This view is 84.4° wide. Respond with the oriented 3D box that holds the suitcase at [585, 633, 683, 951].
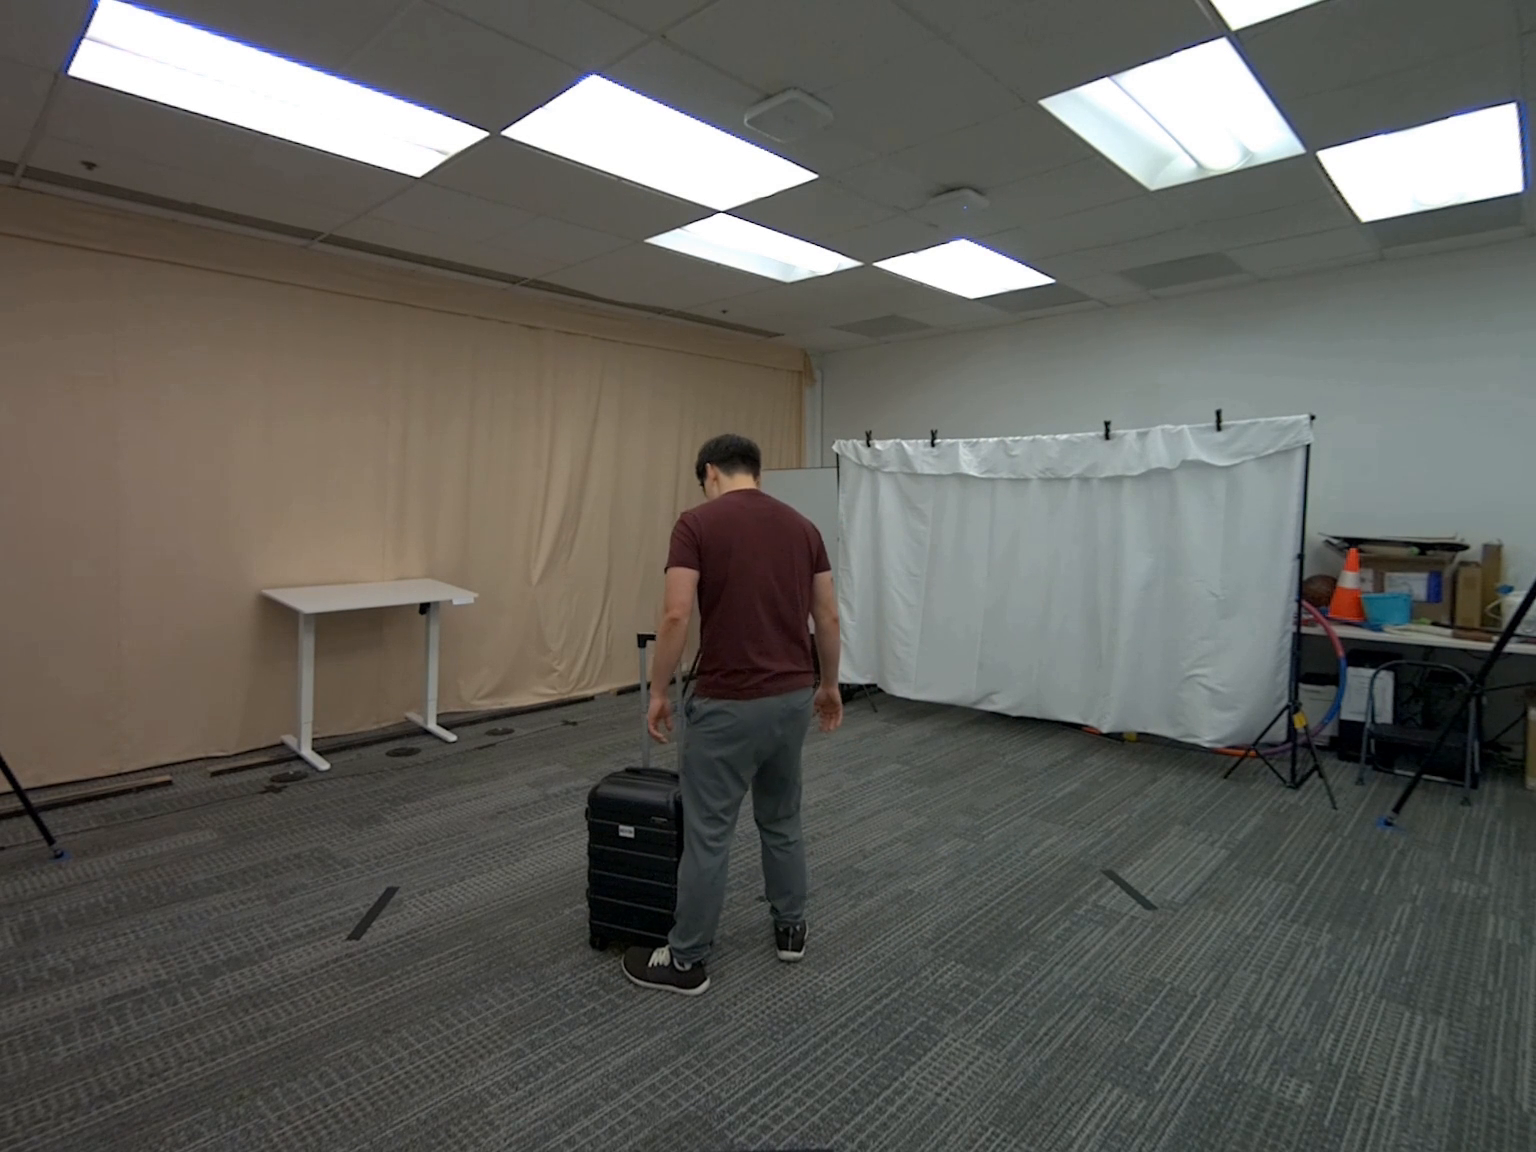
[{"bbox_3d":[-0.373,0.696,2.645,0.393,0.976,0.252,0,4,22],"label":"suitcase"}]
